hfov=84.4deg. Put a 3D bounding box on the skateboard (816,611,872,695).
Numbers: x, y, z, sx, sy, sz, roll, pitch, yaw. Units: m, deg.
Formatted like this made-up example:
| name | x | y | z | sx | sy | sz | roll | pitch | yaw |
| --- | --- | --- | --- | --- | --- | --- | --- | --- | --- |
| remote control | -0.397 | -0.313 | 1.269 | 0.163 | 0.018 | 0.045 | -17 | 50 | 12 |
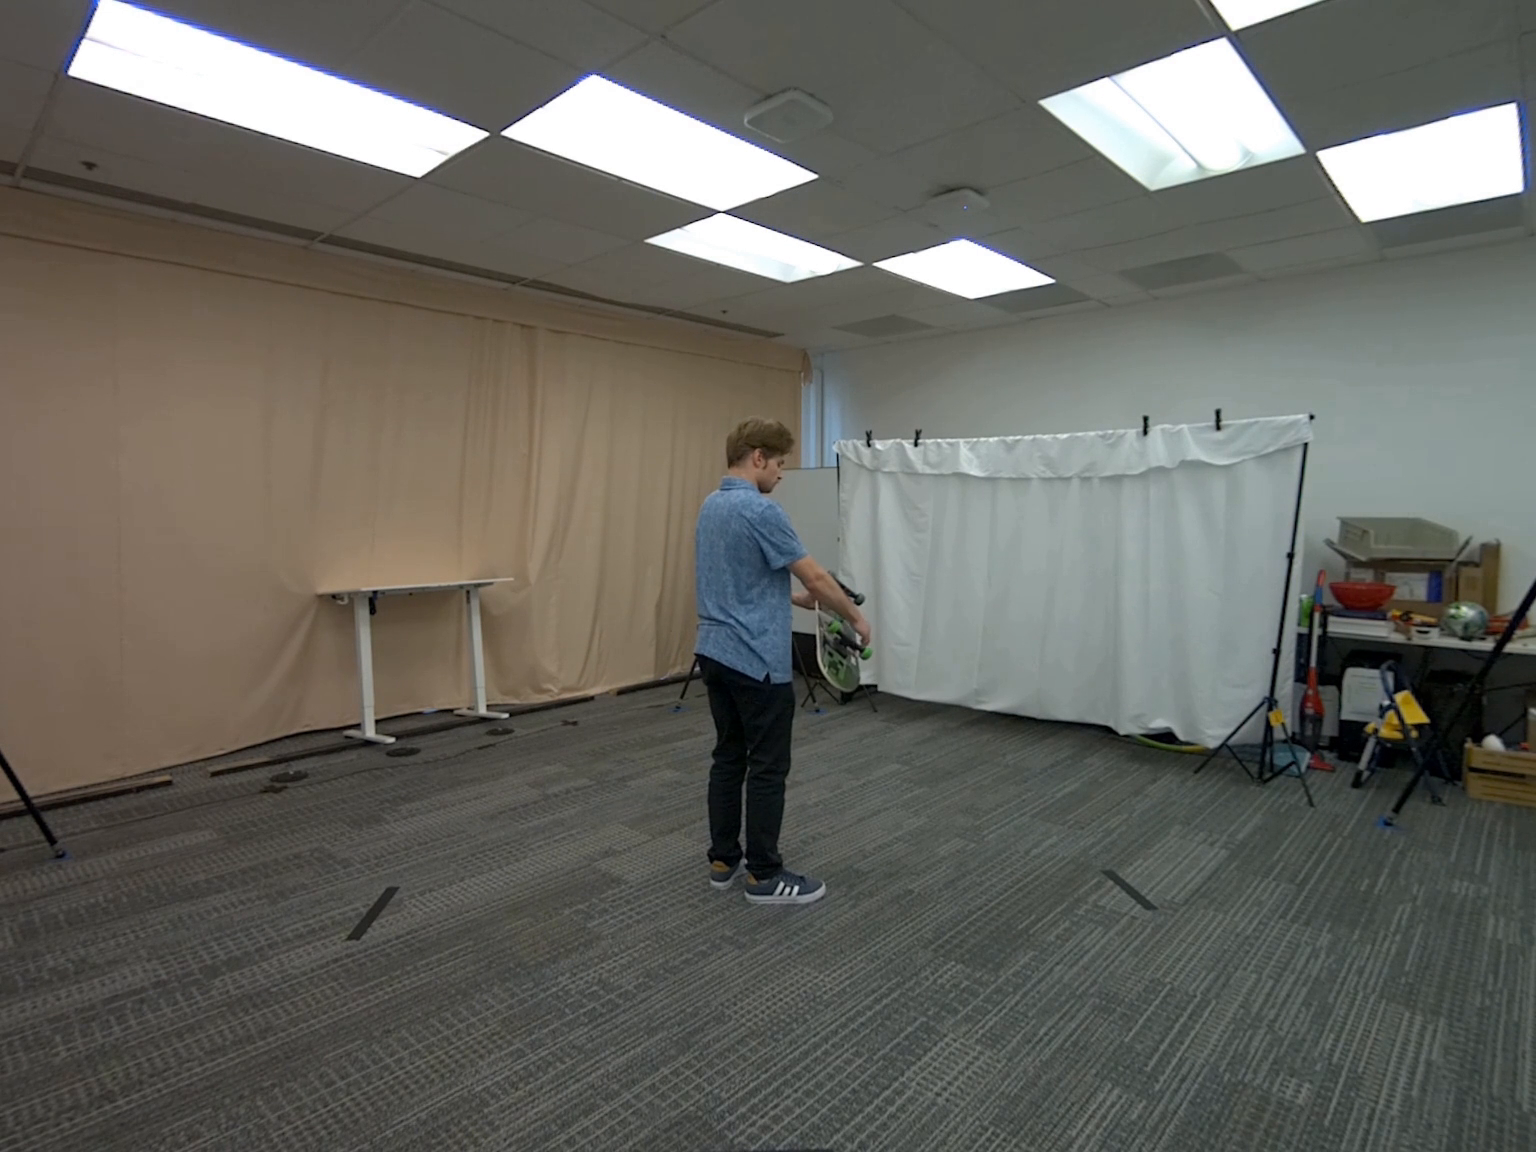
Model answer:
| name | x | y | z | sx | sy | sz | roll | pitch | yaw |
| --- | --- | --- | --- | --- | --- | --- | --- | --- | --- |
| skateboard | 0.277 | 0.157 | 3.128 | 0.190 | 0.111 | 0.793 | 38 | 22 | -14 |
